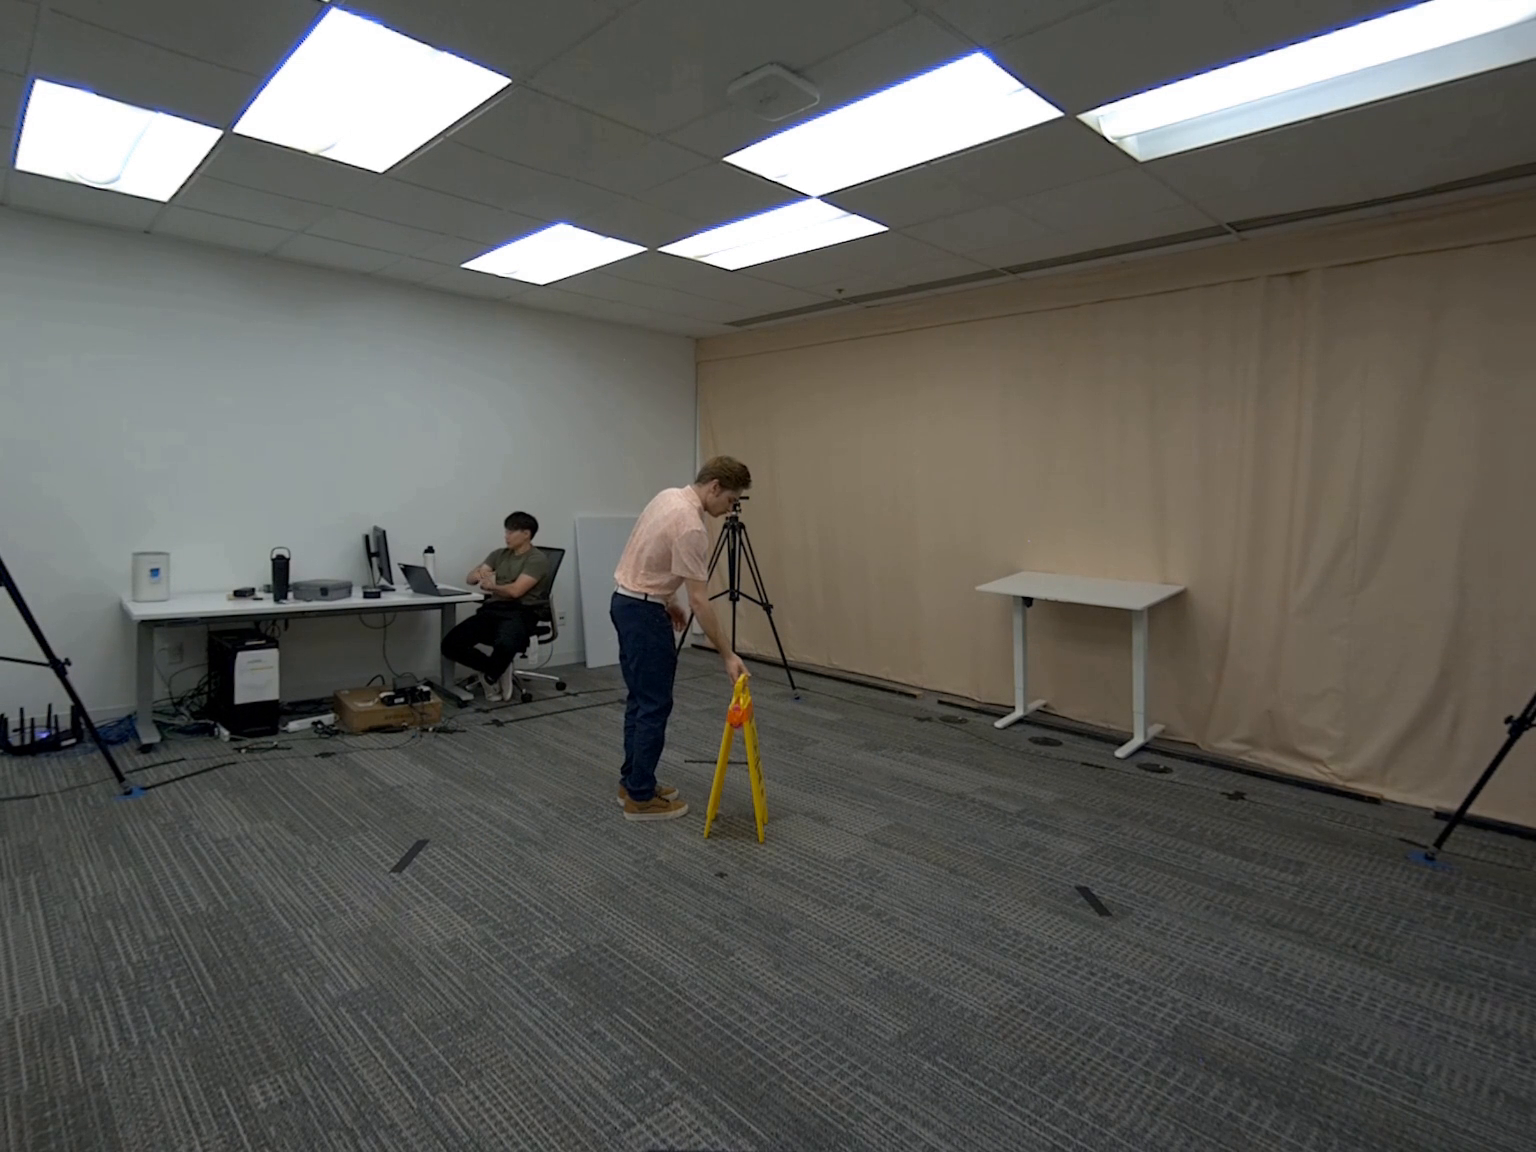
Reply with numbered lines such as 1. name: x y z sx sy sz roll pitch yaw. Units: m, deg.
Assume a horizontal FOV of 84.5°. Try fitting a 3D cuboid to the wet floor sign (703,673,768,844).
1. wet floor sign: -0.122 0.739 3.531 0.291 0.644 0.281 3 4 6
